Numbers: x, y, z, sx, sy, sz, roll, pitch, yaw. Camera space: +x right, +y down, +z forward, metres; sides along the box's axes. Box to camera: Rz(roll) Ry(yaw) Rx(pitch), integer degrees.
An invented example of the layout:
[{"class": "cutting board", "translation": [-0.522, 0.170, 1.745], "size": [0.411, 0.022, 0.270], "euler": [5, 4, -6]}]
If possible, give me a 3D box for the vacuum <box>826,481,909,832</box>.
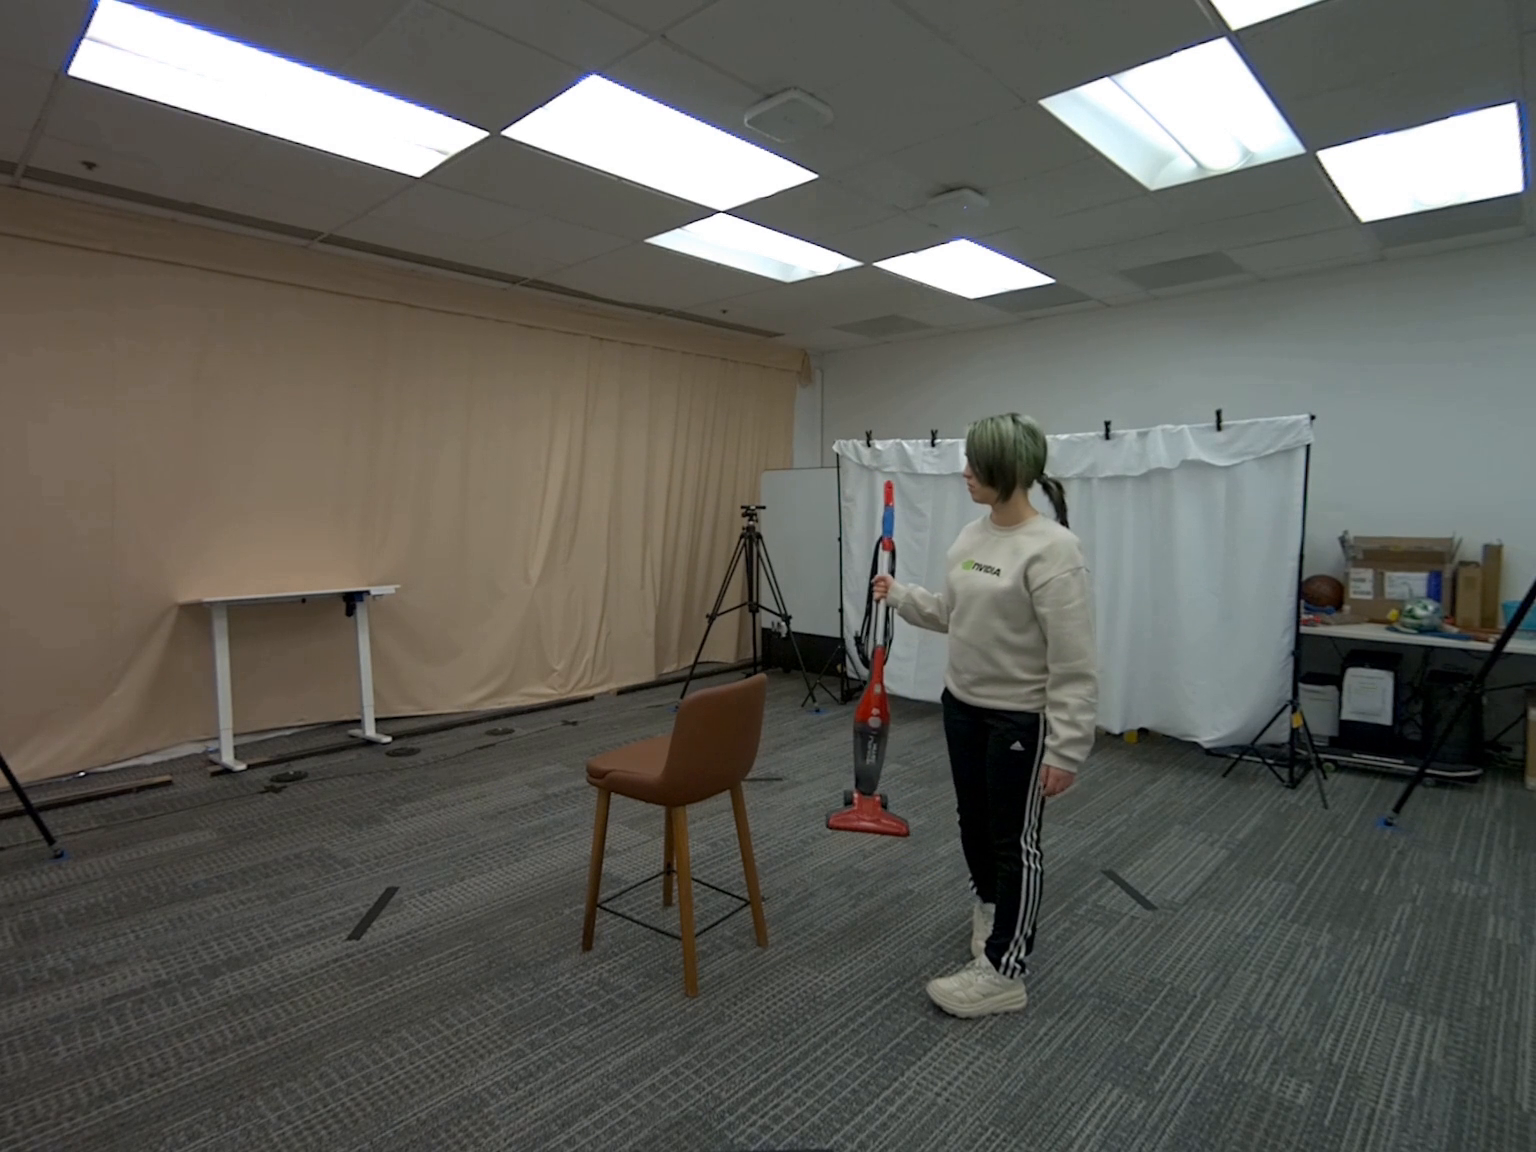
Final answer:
[{"class": "vacuum", "translation": [0.361, 0.220, 2.672], "size": [0.250, 1.054, 0.145], "euler": [5, -8, -10]}]
